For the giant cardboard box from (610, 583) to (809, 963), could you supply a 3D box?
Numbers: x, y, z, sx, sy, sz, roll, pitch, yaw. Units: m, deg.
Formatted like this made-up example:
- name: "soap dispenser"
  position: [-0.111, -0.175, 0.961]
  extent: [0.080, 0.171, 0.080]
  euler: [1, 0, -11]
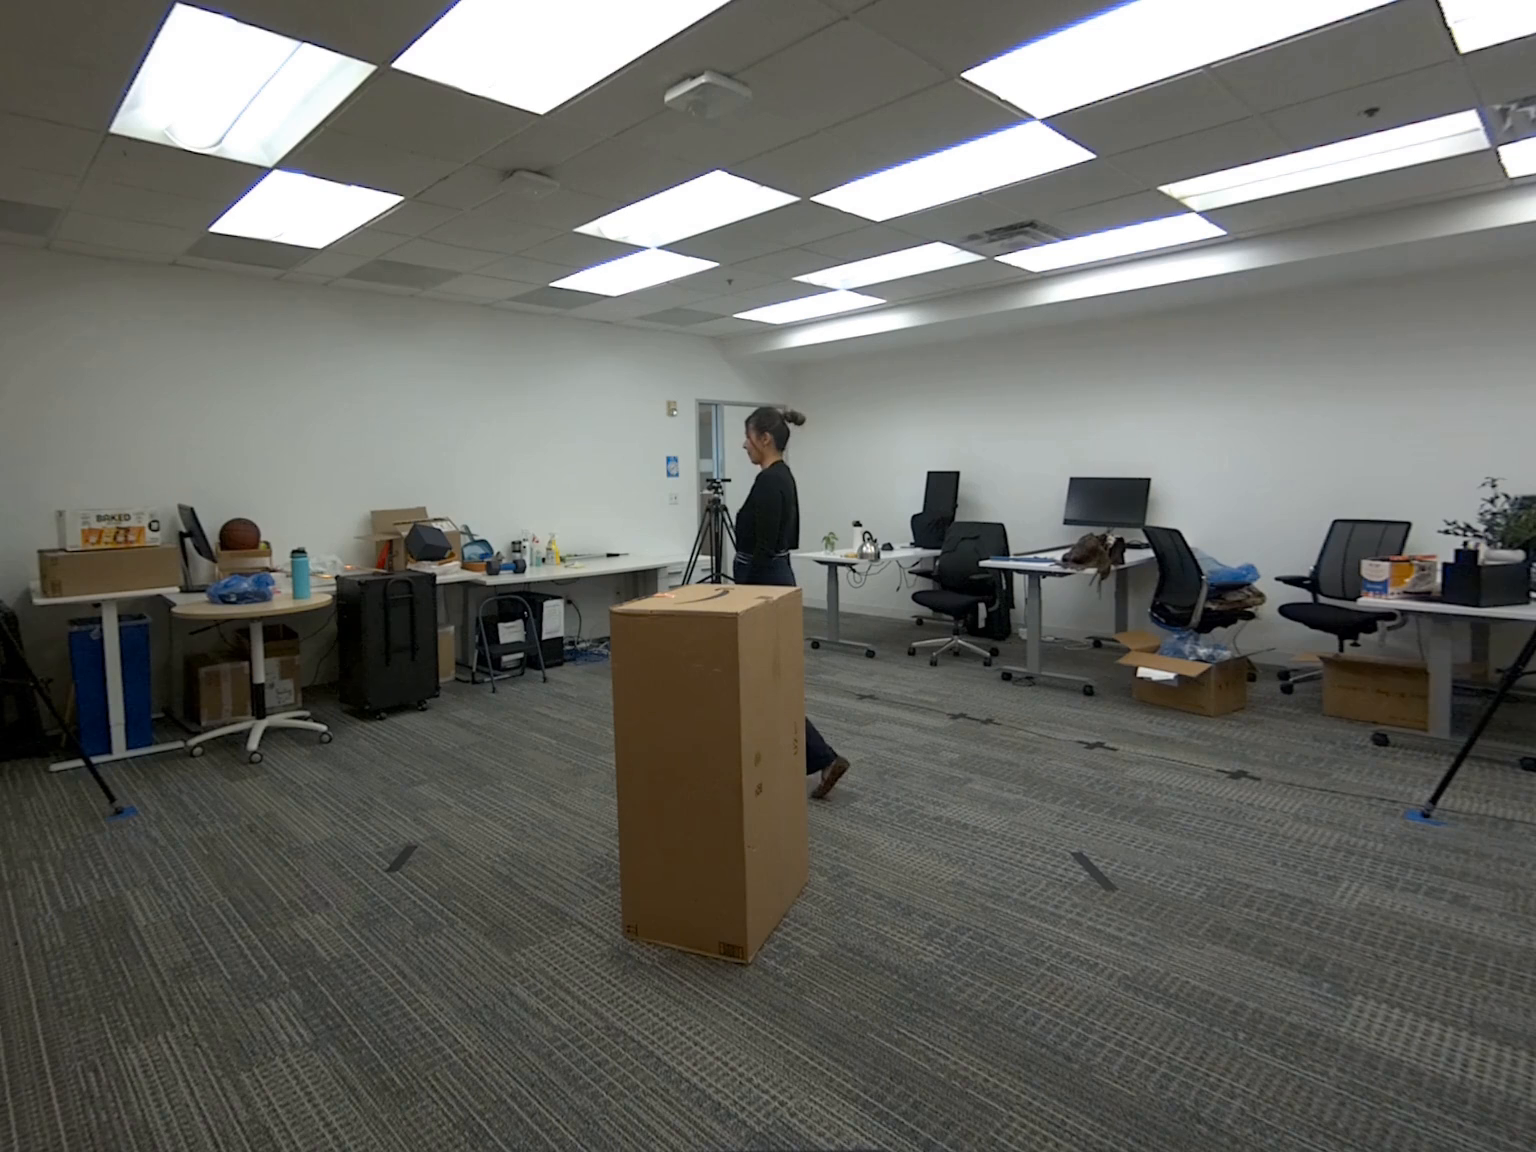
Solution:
- name: "giant cardboard box"
  position: [-0.171, 0.575, 2.763]
  extent: [0.435, 1.022, 0.567]
  euler: [0, 4, 23]
